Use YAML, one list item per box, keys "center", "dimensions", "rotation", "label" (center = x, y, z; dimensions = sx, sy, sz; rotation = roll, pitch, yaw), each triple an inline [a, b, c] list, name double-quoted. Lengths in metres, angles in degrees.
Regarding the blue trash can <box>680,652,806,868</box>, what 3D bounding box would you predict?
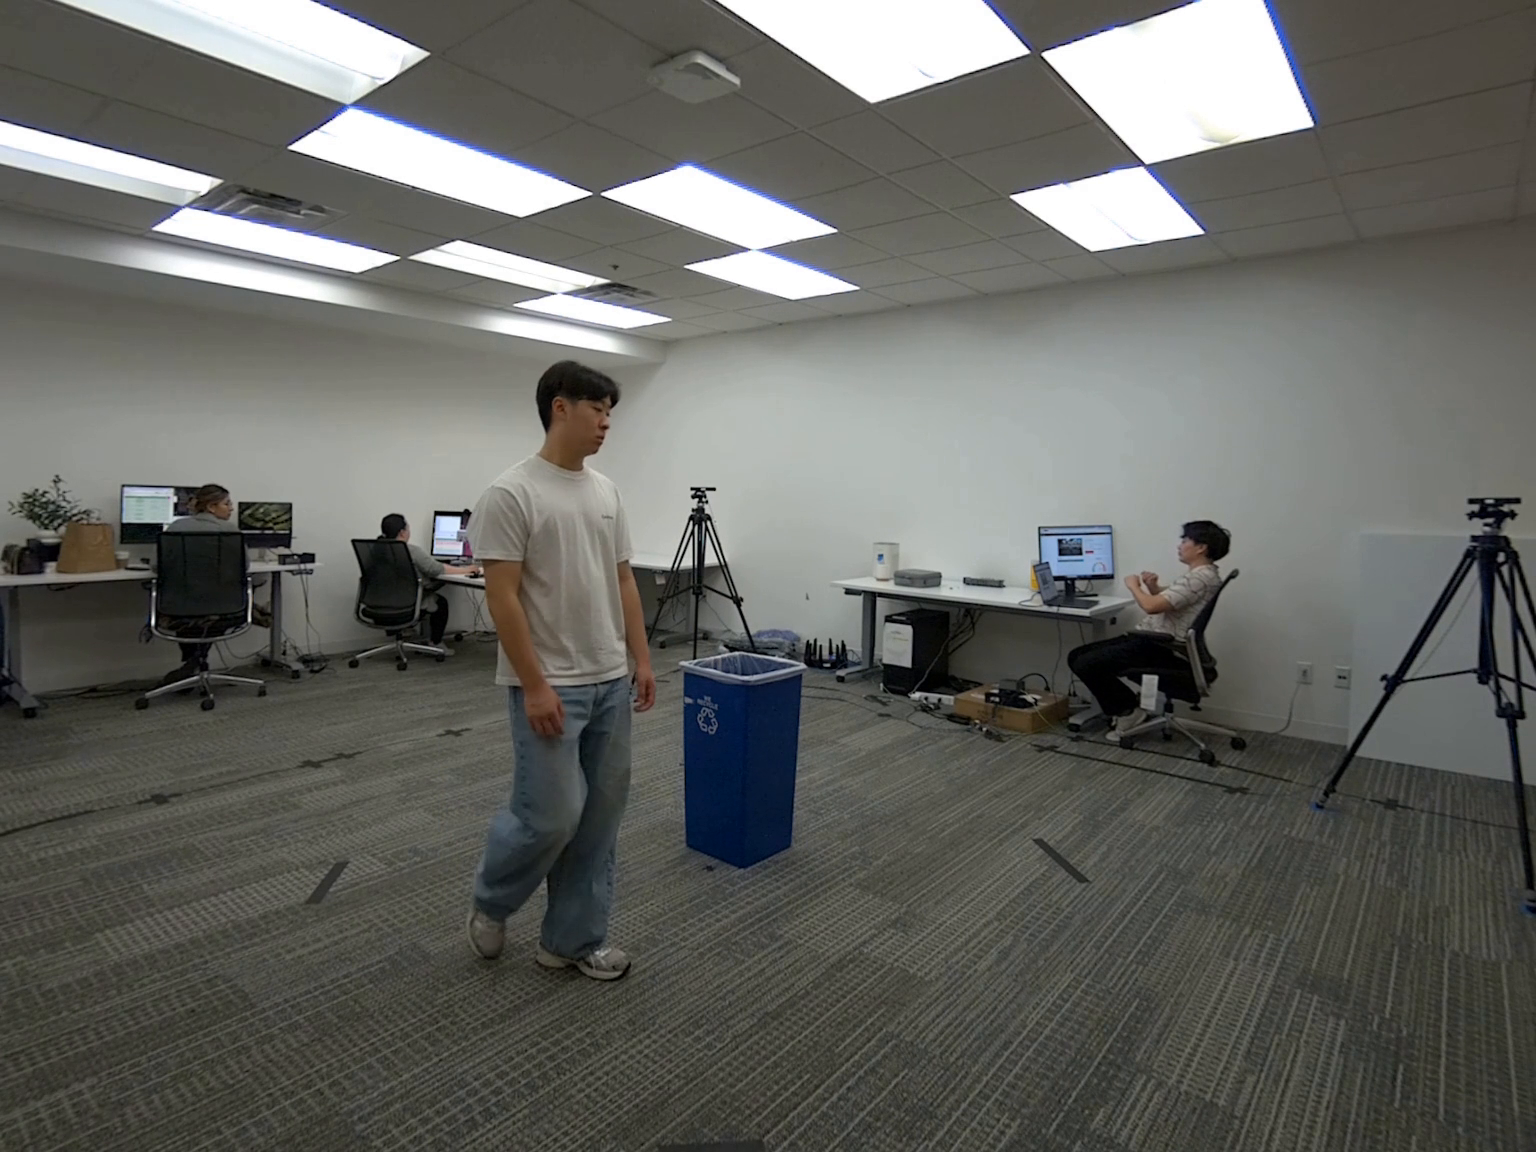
- center: [-0.107, 0.691, 3.292]
  dimensions: [0.386, 0.711, 0.367]
  rotation: [4, 4, 40]
  label: "blue trash can"
